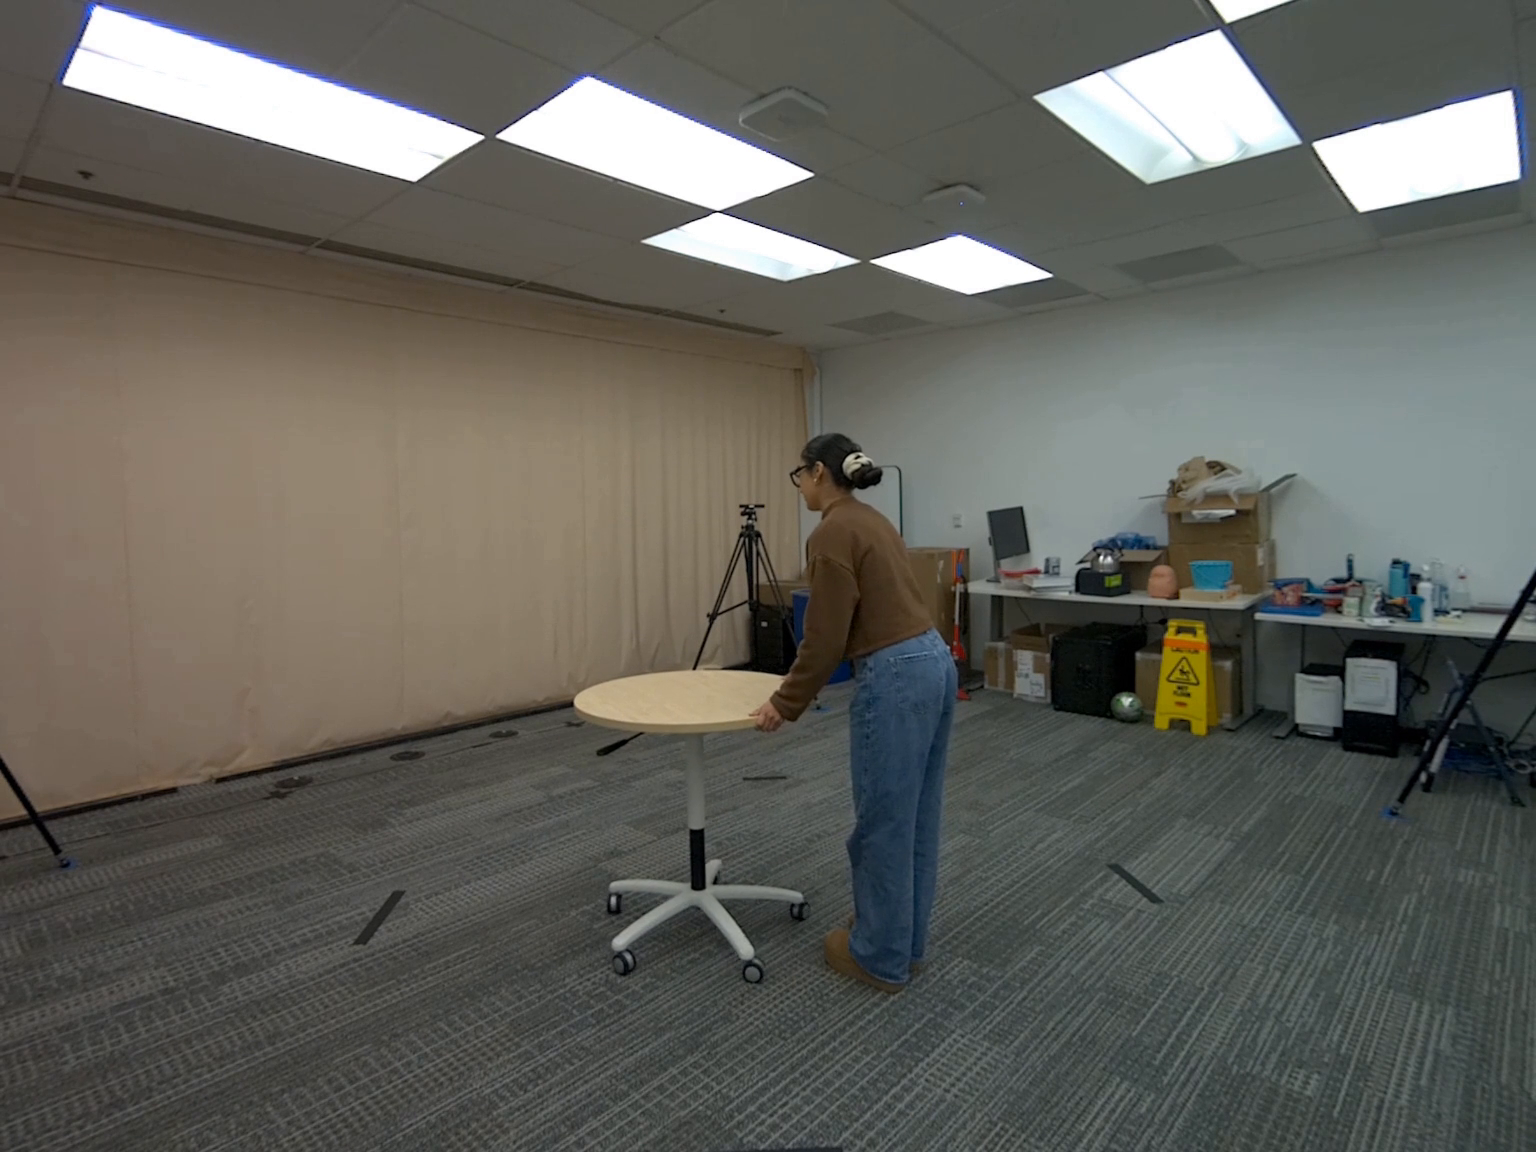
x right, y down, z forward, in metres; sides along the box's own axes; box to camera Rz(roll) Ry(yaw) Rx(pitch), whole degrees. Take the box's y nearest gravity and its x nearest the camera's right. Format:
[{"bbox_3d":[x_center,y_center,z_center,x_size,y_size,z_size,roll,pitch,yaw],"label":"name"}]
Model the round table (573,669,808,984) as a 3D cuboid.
[{"bbox_3d":[-0.223,0.775,2.751,0.763,0.792,0.766,-2,4,-2],"label":"round table"}]
